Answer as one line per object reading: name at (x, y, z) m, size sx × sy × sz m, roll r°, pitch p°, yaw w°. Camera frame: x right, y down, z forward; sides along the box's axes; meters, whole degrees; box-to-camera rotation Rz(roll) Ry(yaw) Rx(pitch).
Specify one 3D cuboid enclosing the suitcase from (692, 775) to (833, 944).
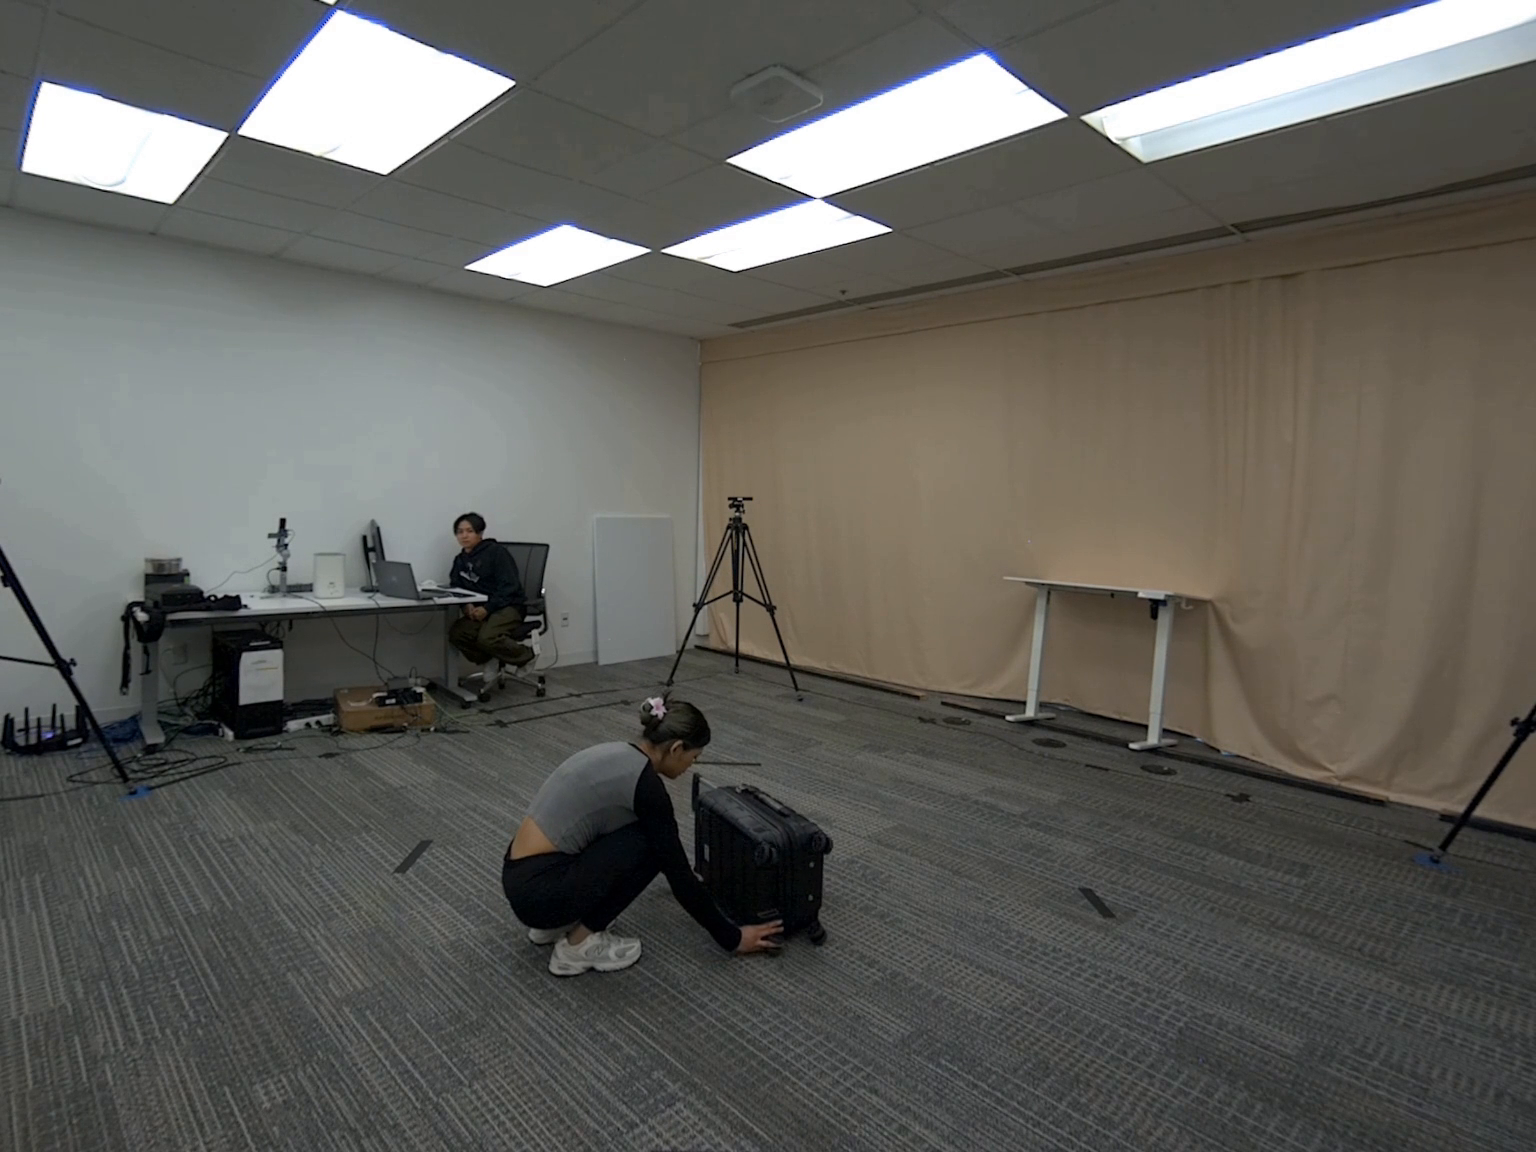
suitcase at (-0.152, 0.926, 3.006) m, size 0.252 × 0.383 × 1.001 m, roll 1°, pitch 5°, yaw -30°
